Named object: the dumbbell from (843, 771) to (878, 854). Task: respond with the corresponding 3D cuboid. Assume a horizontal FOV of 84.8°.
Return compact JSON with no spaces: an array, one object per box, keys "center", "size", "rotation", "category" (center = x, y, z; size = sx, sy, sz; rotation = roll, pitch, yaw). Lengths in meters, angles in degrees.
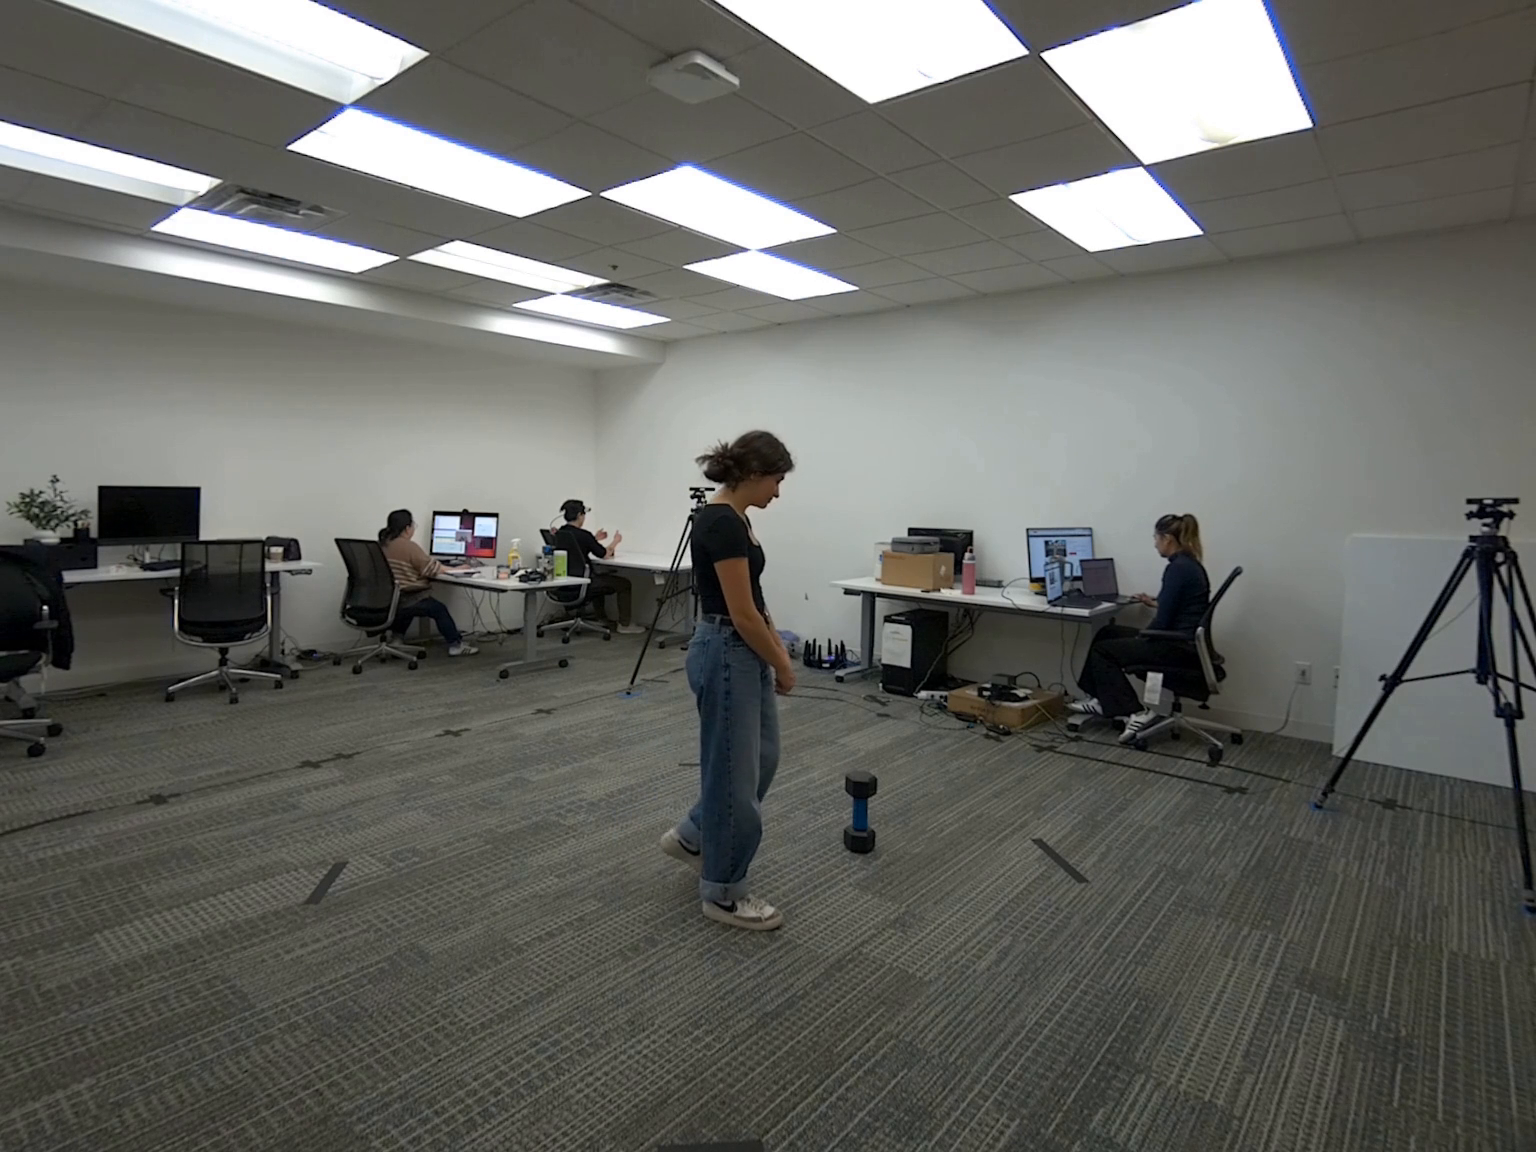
[{"center":[0.352,0.914,3.313],"size":[0.106,0.292,0.126],"rotation":[-1,4,-21],"category":"dumbbell"}]
